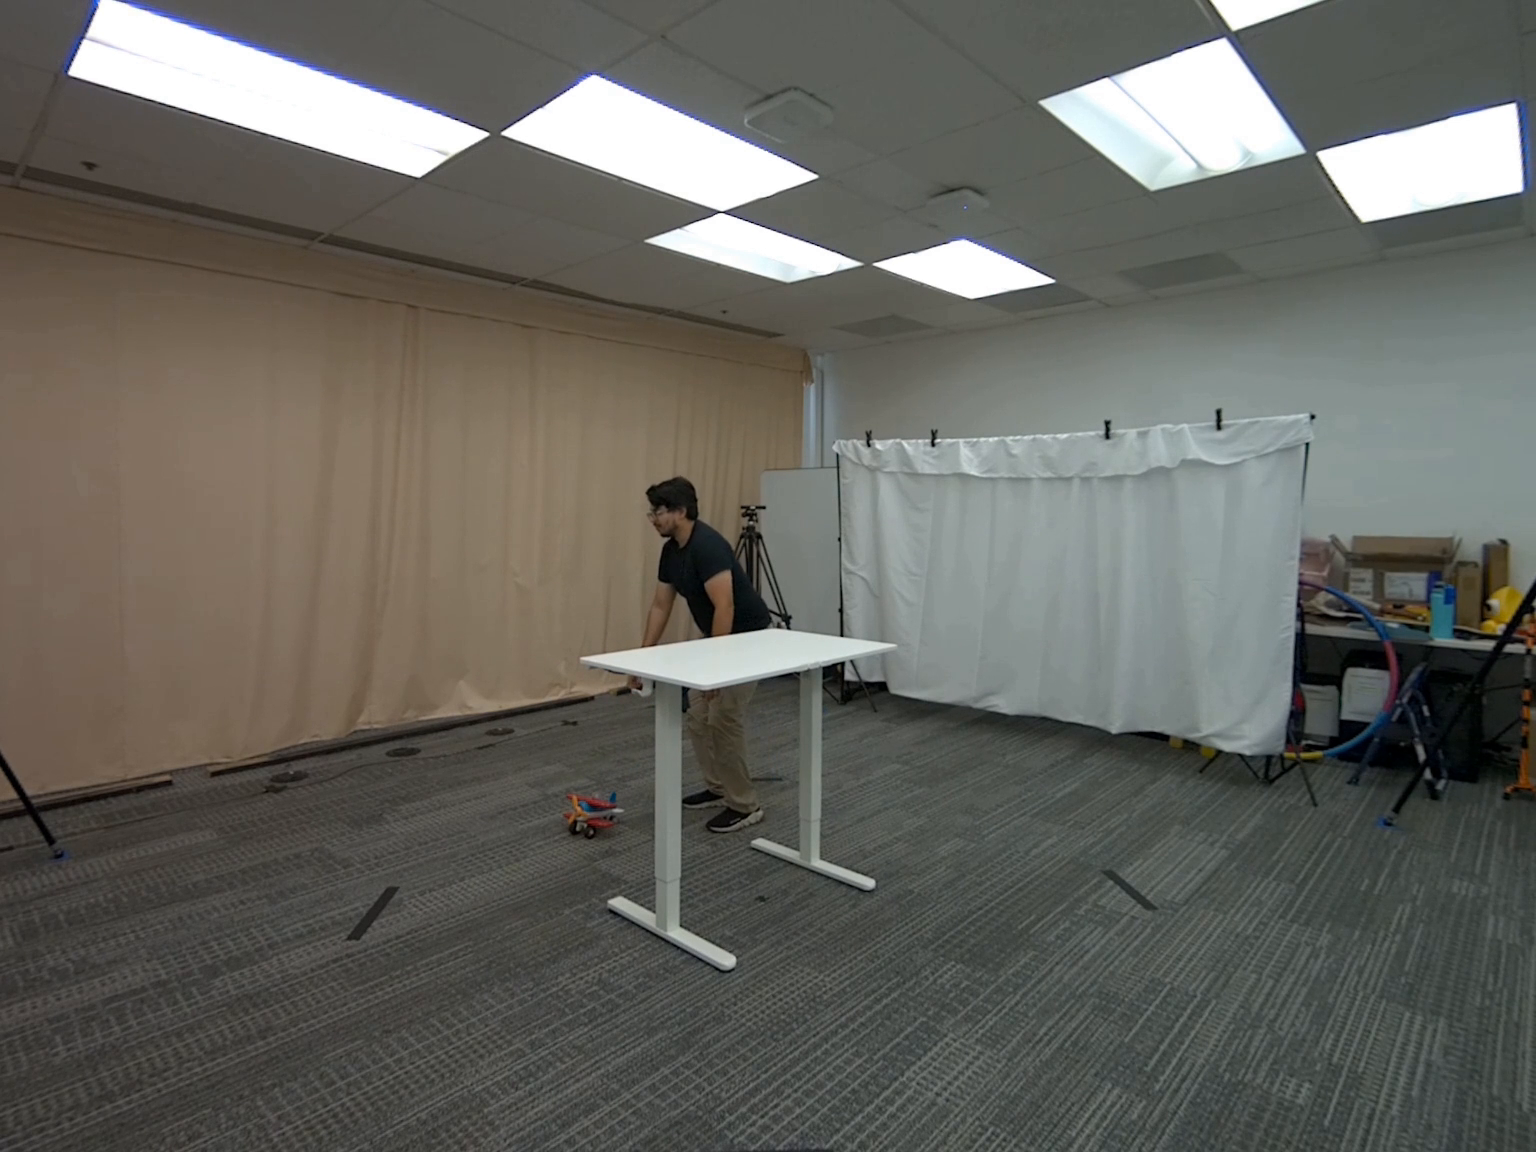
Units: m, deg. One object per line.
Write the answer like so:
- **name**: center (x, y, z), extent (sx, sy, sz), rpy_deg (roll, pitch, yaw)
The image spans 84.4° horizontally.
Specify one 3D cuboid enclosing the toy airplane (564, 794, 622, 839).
- **toy airplane**: center (-0.765, 1.021, 3.647), extent (0.252, 0.156, 0.259), rpy_deg (-1, 6, 4)
